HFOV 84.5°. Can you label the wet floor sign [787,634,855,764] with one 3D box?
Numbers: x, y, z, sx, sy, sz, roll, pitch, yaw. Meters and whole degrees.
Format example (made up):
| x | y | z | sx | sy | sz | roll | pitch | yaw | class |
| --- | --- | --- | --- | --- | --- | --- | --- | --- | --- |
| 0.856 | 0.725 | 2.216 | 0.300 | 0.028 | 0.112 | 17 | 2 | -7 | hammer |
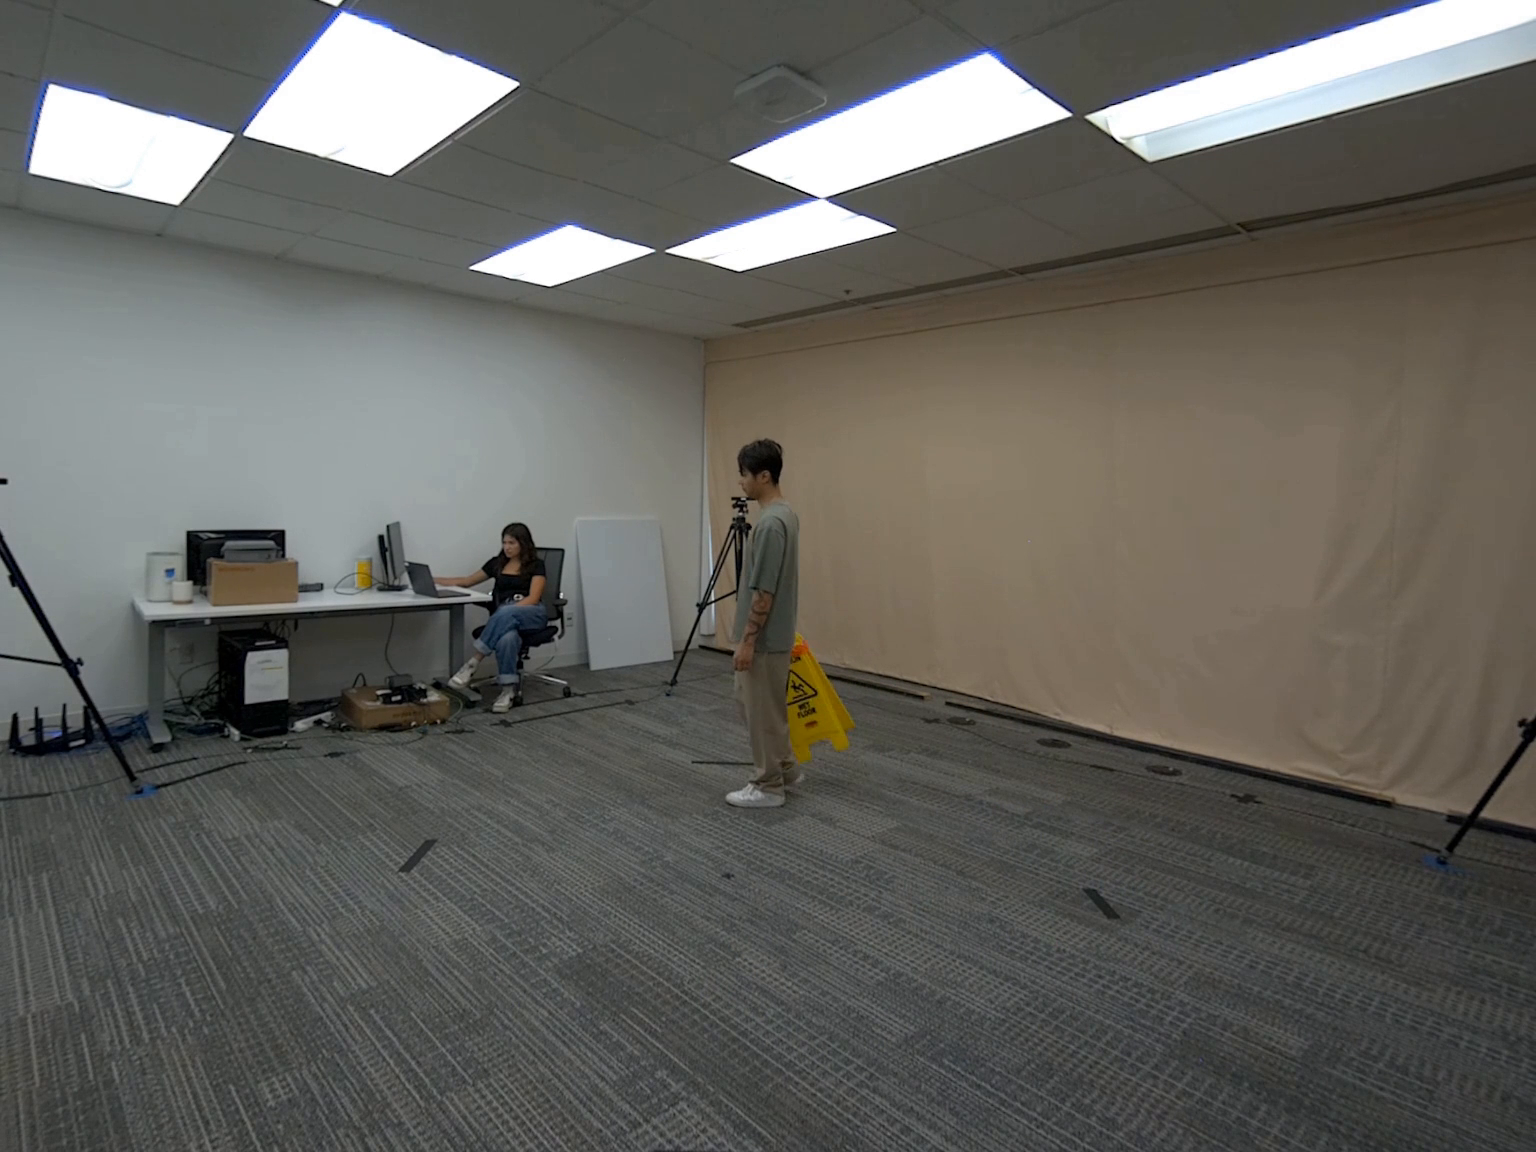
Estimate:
| x | y | z | sx | sy | sz | roll | pitch | yaw | class |
| --- | --- | --- | --- | --- | --- | --- | --- | --- | --- |
| 0.132 | 0.556 | 4.171 | 0.284 | 0.643 | 0.288 | -22 | 4 | 18 | wet floor sign |
